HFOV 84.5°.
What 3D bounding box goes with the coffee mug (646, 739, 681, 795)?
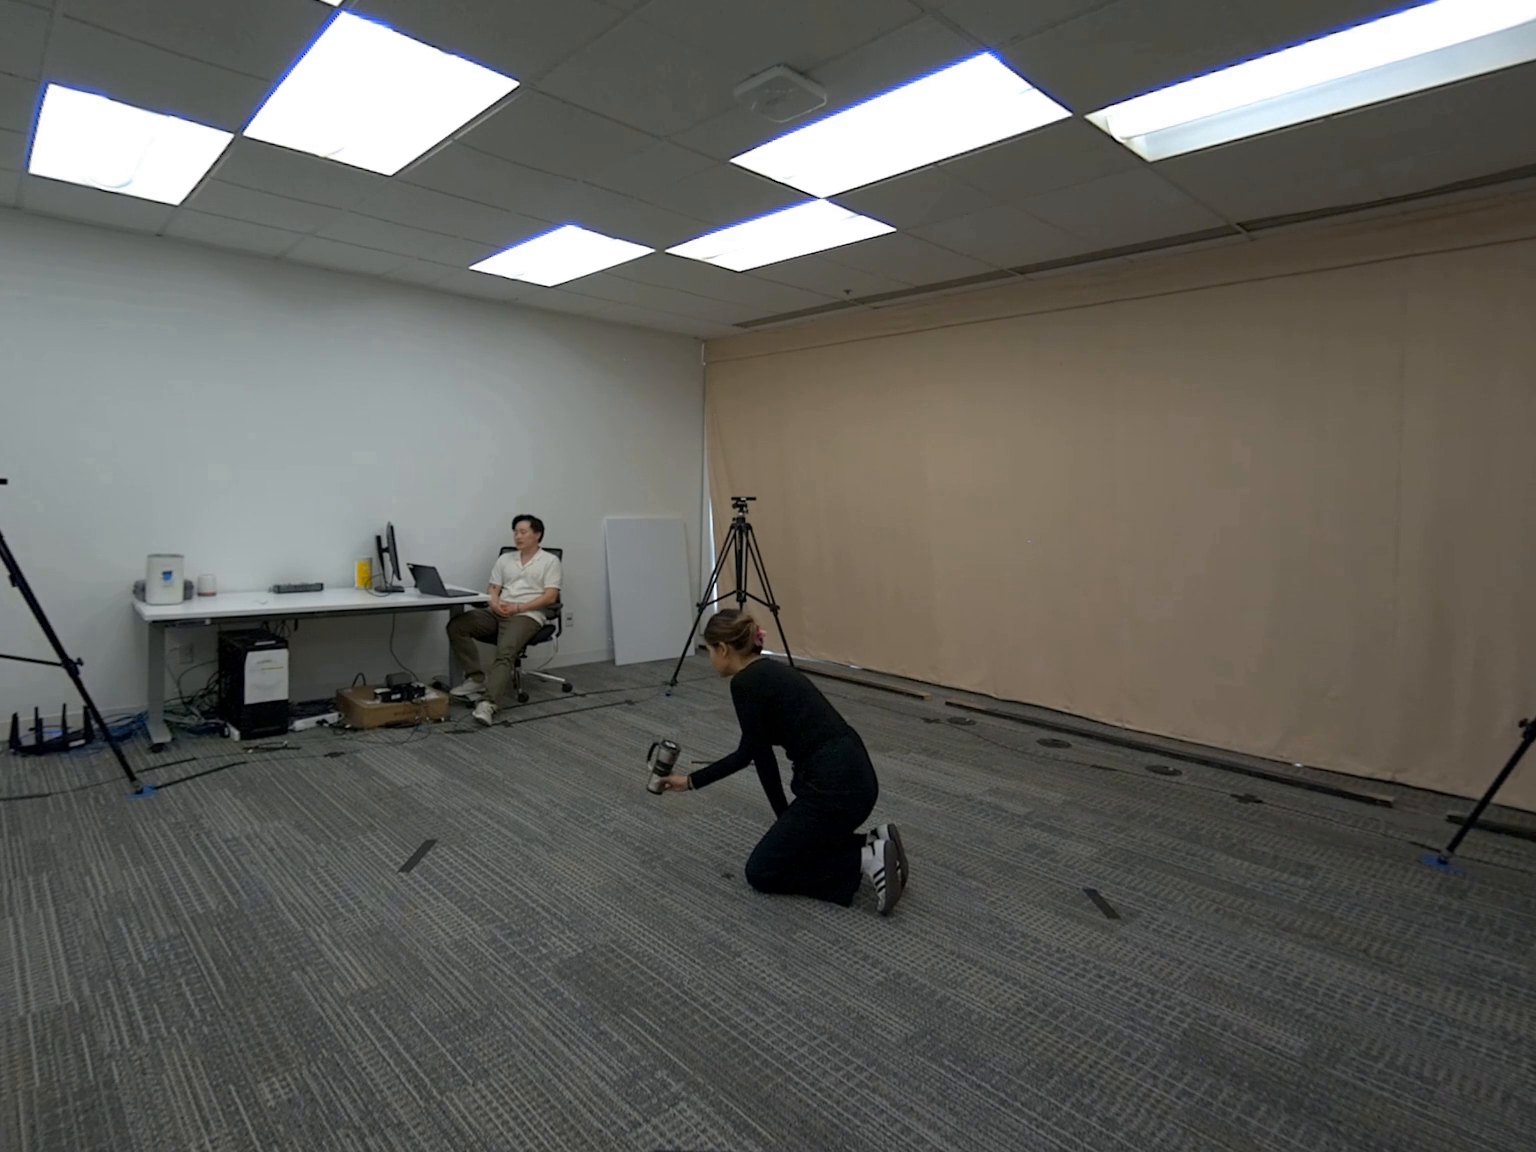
[{"bbox_3d":[-0.439,0.777,3.414,0.126,0.203,0.085,22,3,41],"label":"coffee mug"}]
